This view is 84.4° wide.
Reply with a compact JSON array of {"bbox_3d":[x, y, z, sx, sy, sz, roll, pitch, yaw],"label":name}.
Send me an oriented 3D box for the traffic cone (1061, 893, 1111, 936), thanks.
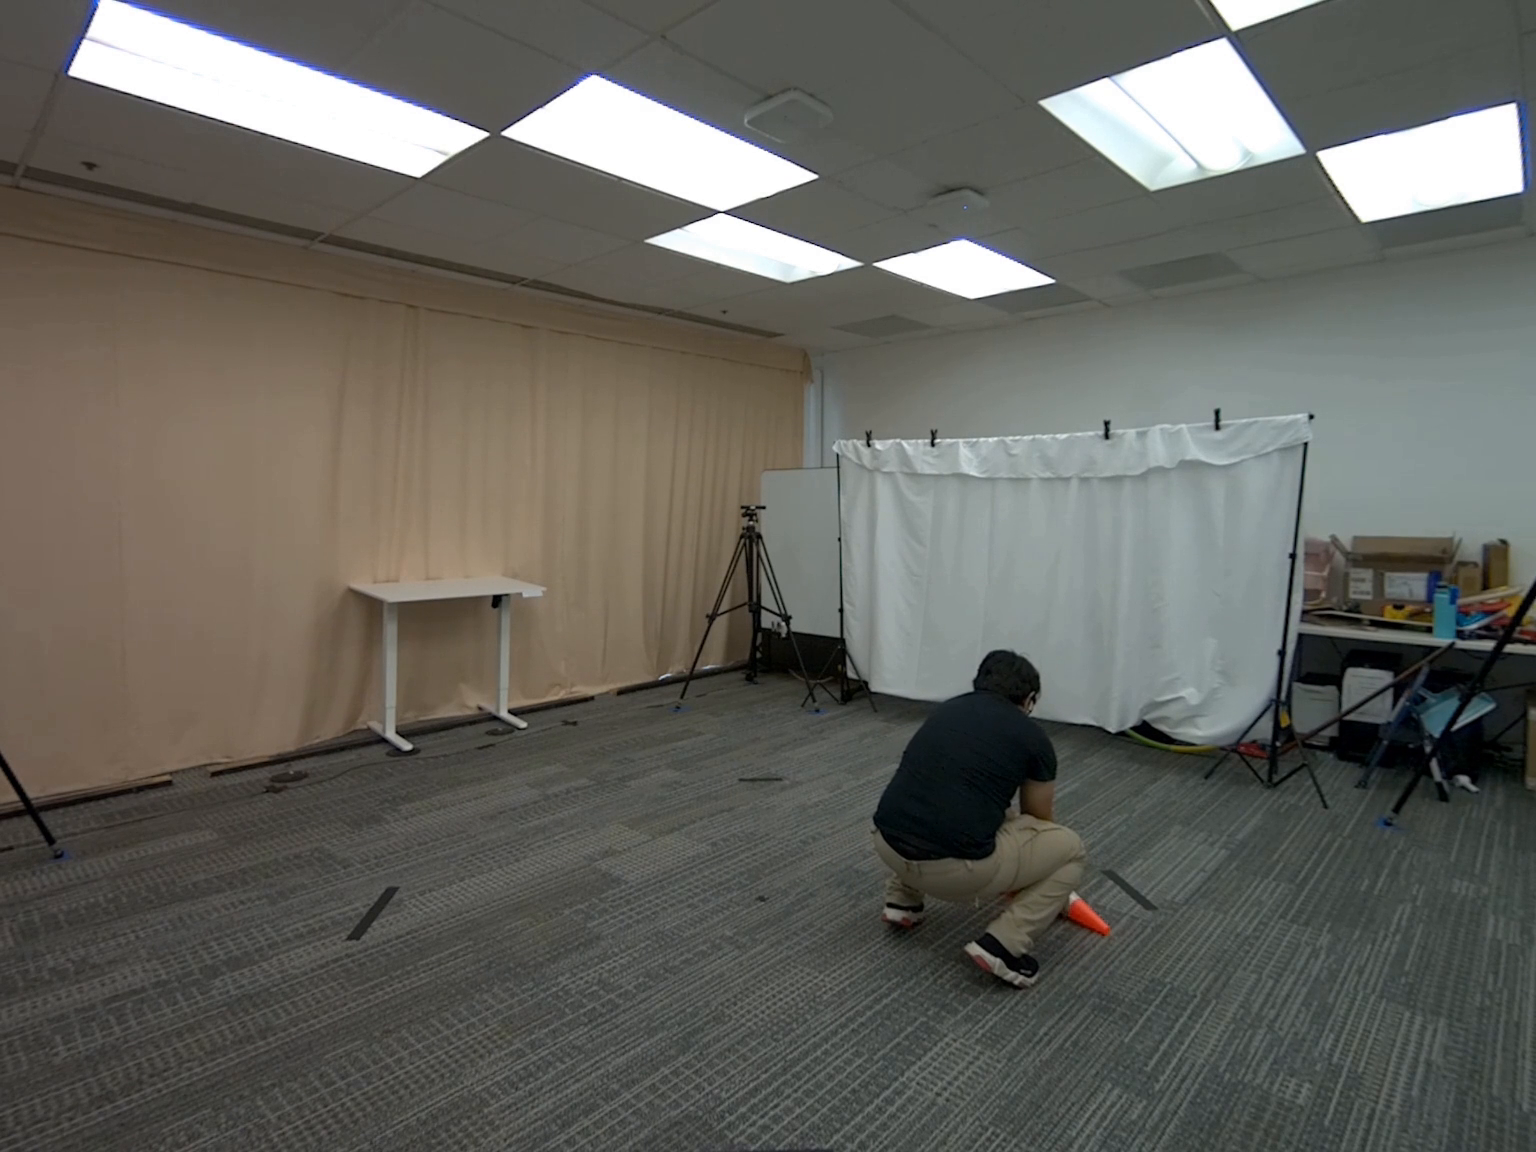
[{"bbox_3d":[1.009,1.107,2.884,0.200,0.202,0.397,-3,20,-29],"label":"traffic cone"}]
